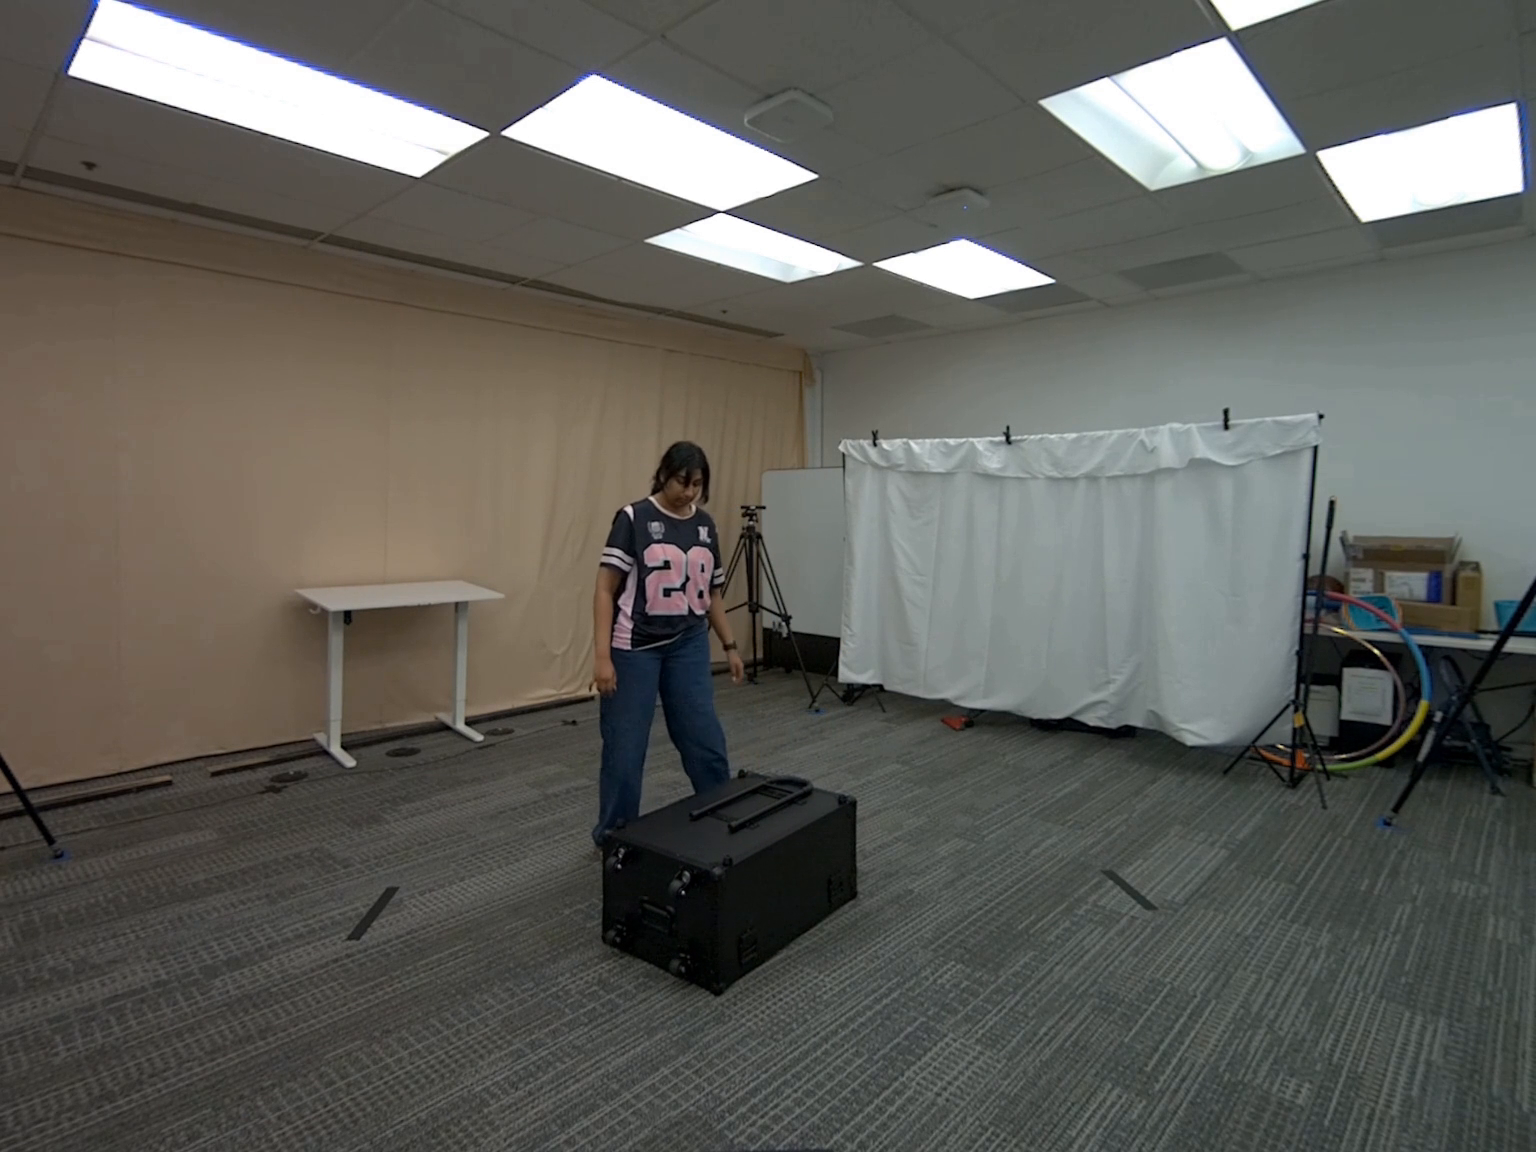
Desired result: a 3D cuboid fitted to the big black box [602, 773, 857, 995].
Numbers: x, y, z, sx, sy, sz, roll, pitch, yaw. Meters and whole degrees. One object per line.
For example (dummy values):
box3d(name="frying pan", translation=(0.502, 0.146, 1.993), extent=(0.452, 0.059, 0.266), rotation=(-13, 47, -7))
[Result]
box3d(name="big black box", translation=(-0.118, 0.973, 2.795), extent=(0.540, 0.384, 0.843), rotation=(5, 6, 37))
